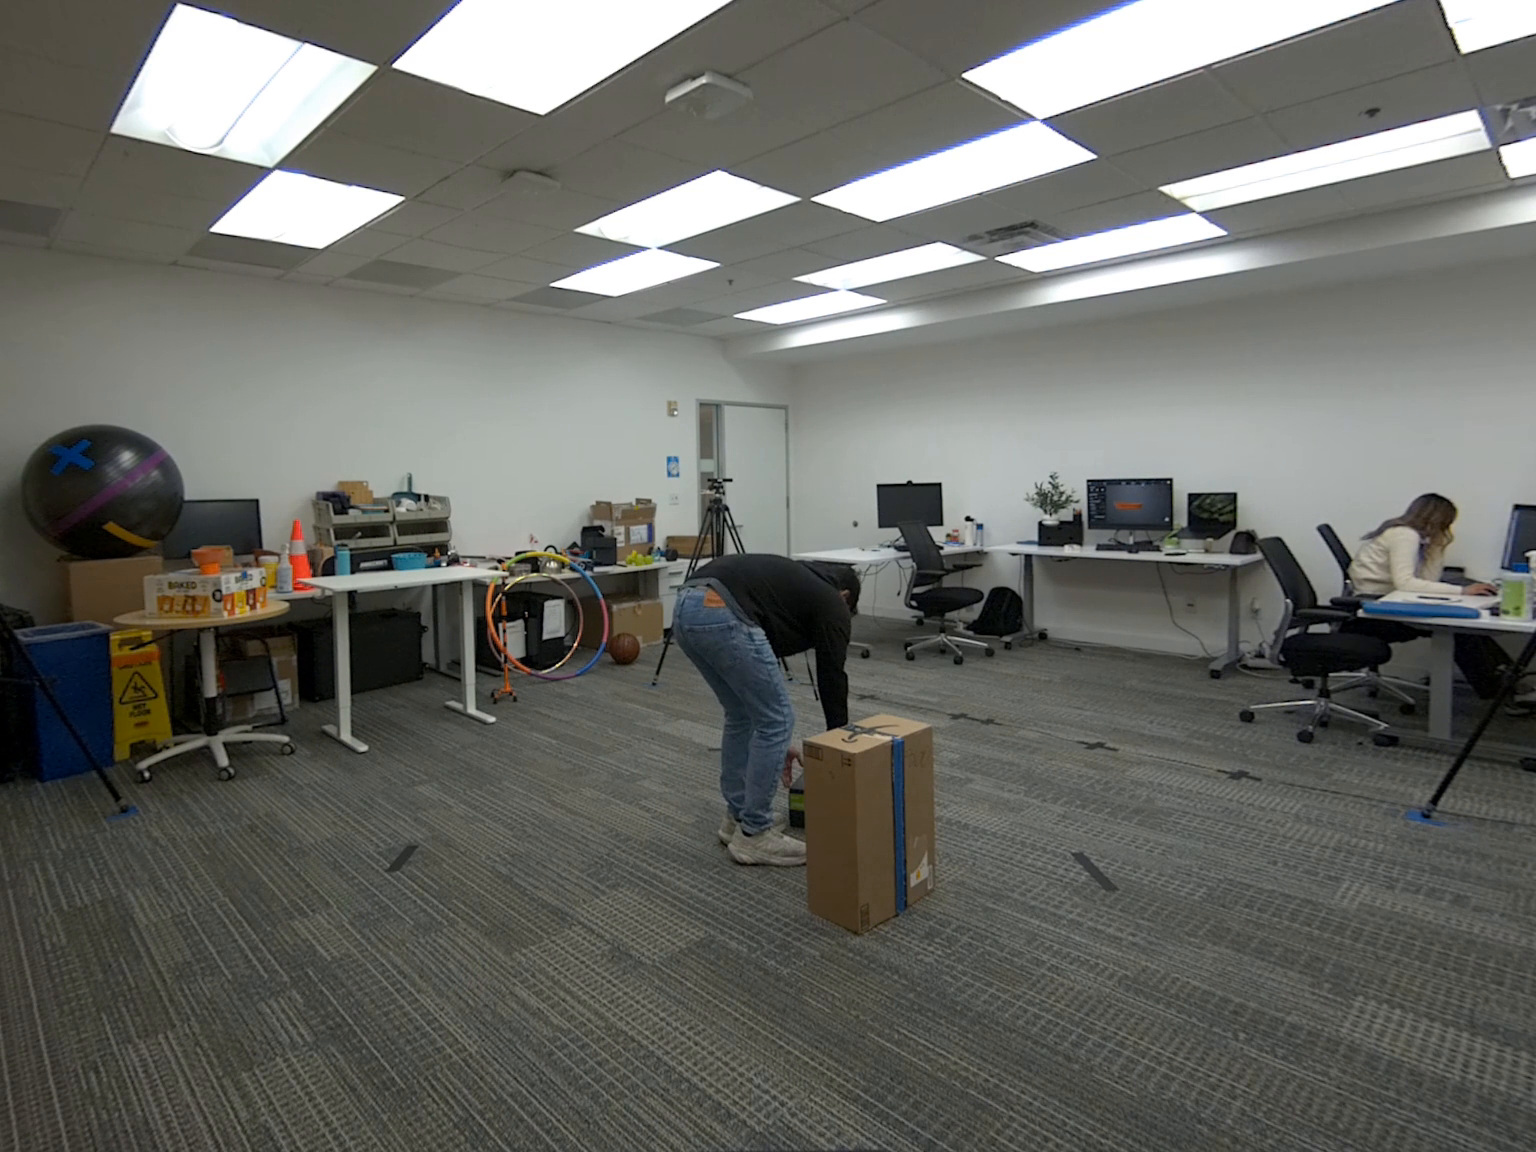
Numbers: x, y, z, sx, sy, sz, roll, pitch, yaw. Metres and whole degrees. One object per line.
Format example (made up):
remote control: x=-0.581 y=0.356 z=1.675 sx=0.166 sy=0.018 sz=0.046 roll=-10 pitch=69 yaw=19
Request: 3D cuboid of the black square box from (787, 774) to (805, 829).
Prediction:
black square box: x=0.231 y=0.912 z=3.483 sx=0.232 sy=0.155 sz=0.214 roll=1 pitch=6 yaw=20
